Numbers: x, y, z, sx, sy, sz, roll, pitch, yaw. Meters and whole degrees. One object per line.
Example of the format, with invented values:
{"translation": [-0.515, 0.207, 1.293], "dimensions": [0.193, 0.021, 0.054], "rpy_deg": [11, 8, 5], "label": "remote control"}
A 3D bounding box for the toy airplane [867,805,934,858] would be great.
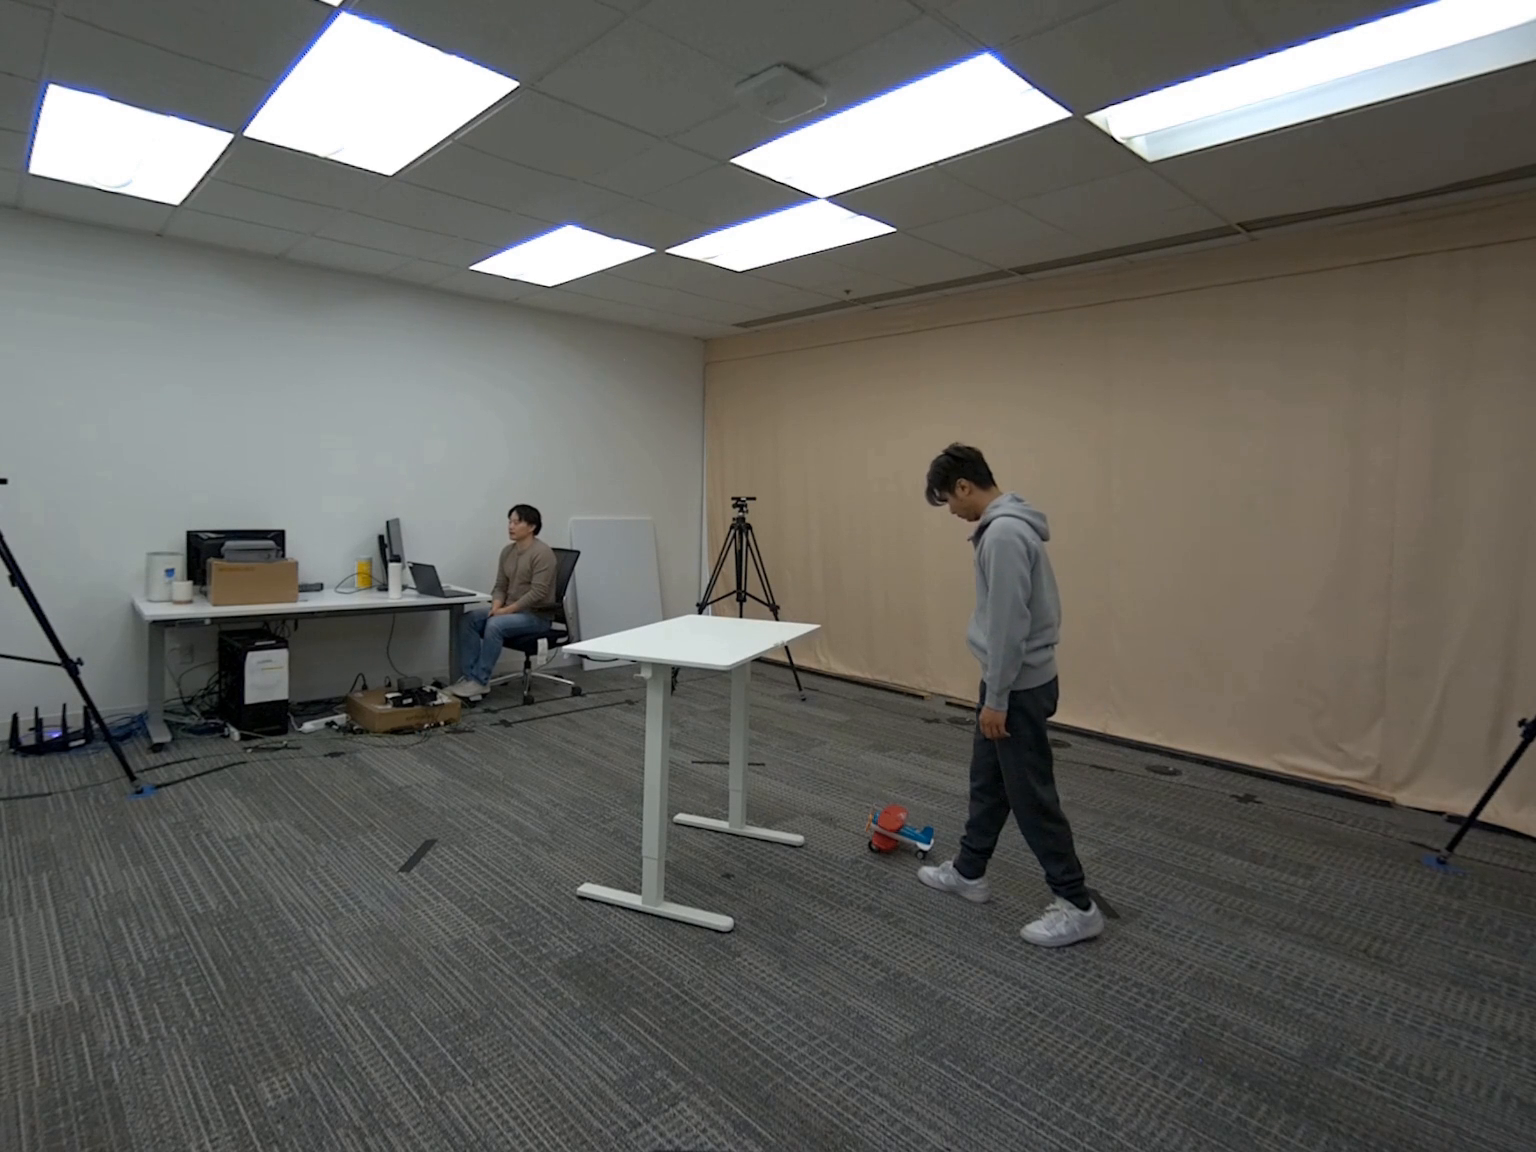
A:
{"translation": [0.511, 1.022, 3.369], "dimensions": [0.258, 0.156, 0.252], "rpy_deg": [1, 4, -4], "label": "toy airplane"}
